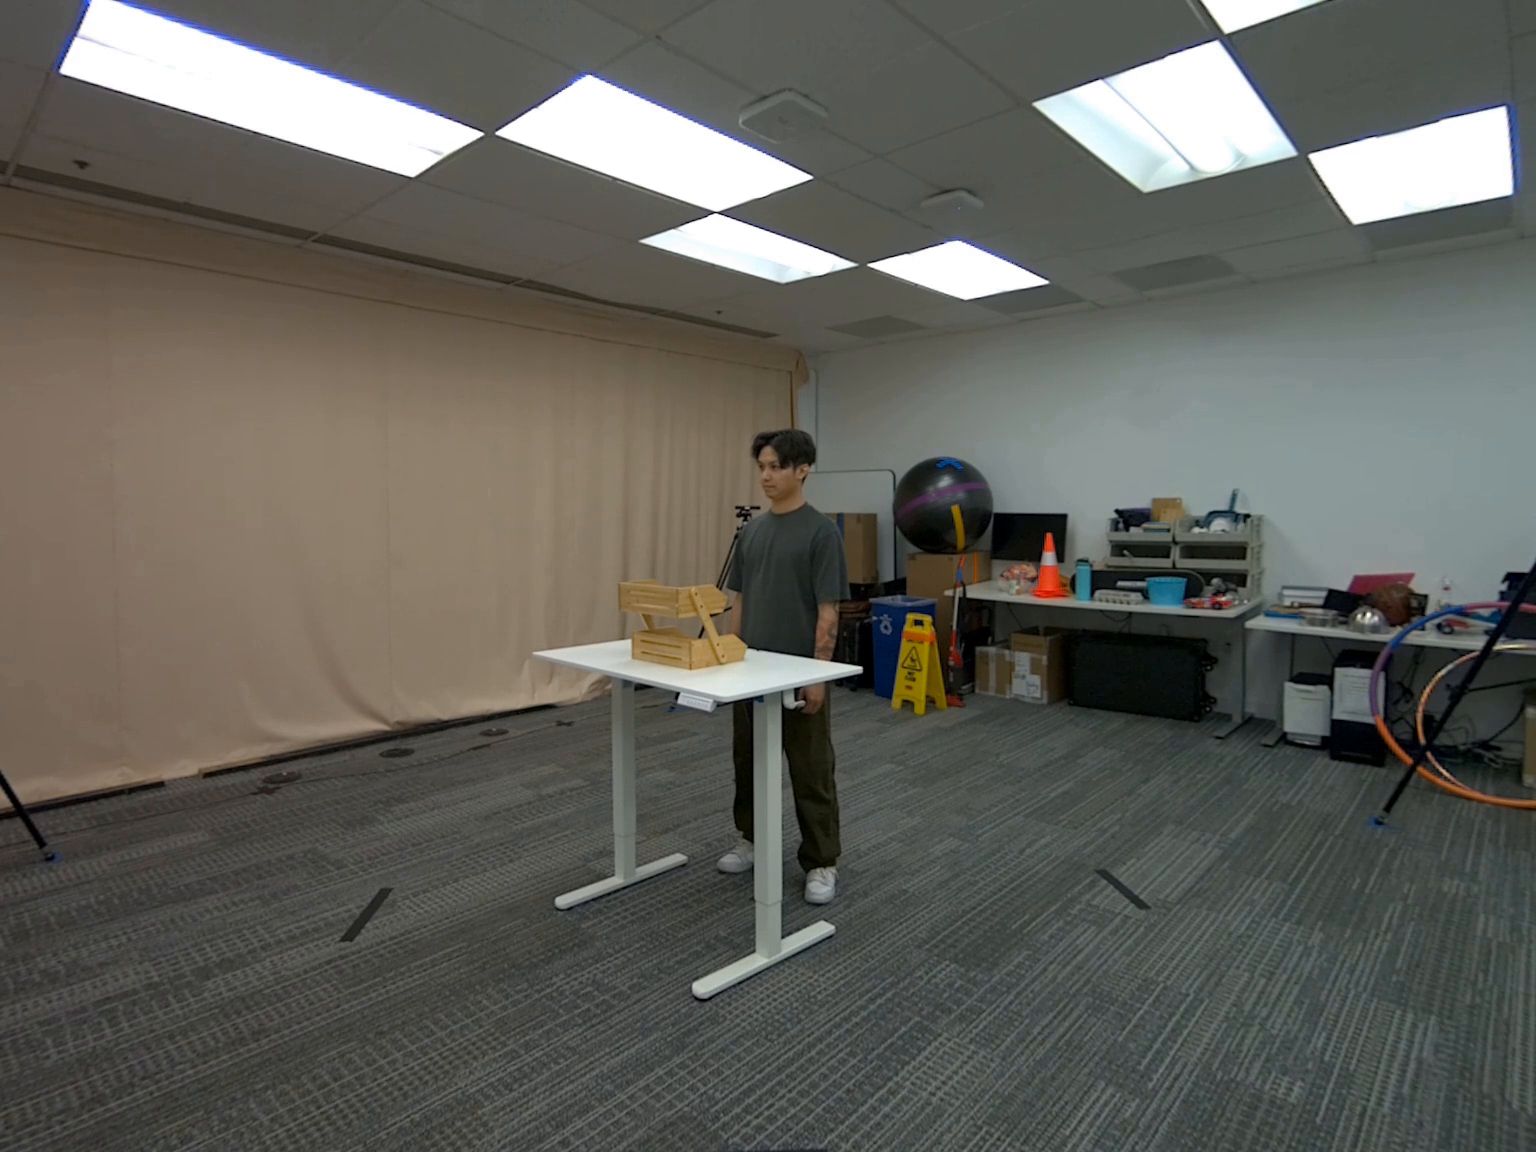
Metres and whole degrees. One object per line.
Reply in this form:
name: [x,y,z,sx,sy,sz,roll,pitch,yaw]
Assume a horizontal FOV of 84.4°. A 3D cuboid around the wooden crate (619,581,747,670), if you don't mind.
wooden crate: [-0.281,0.147,2.783,0.335,0.273,0.293,3,5,44]
